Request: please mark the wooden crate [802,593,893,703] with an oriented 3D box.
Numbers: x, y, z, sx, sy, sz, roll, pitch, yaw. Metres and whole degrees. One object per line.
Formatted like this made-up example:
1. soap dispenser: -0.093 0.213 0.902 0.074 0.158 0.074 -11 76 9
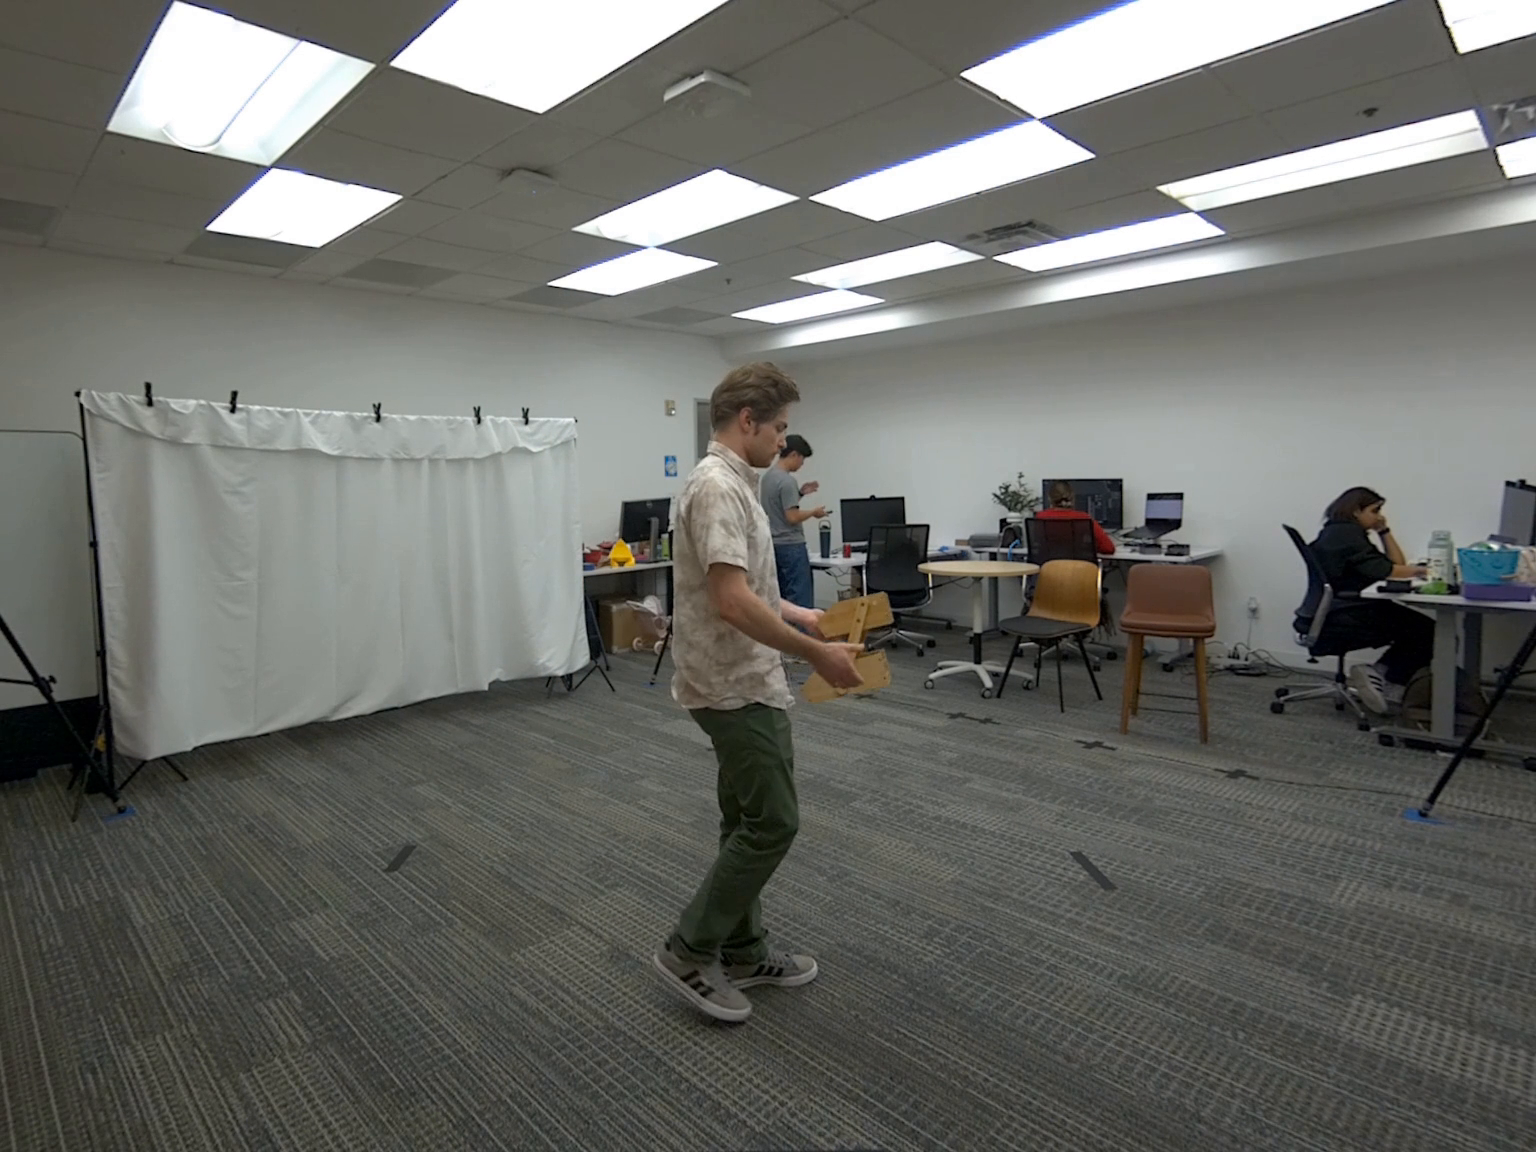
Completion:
1. wooden crate: 0.237 0.211 2.573 0.304 0.275 0.320 -15 -5 8
